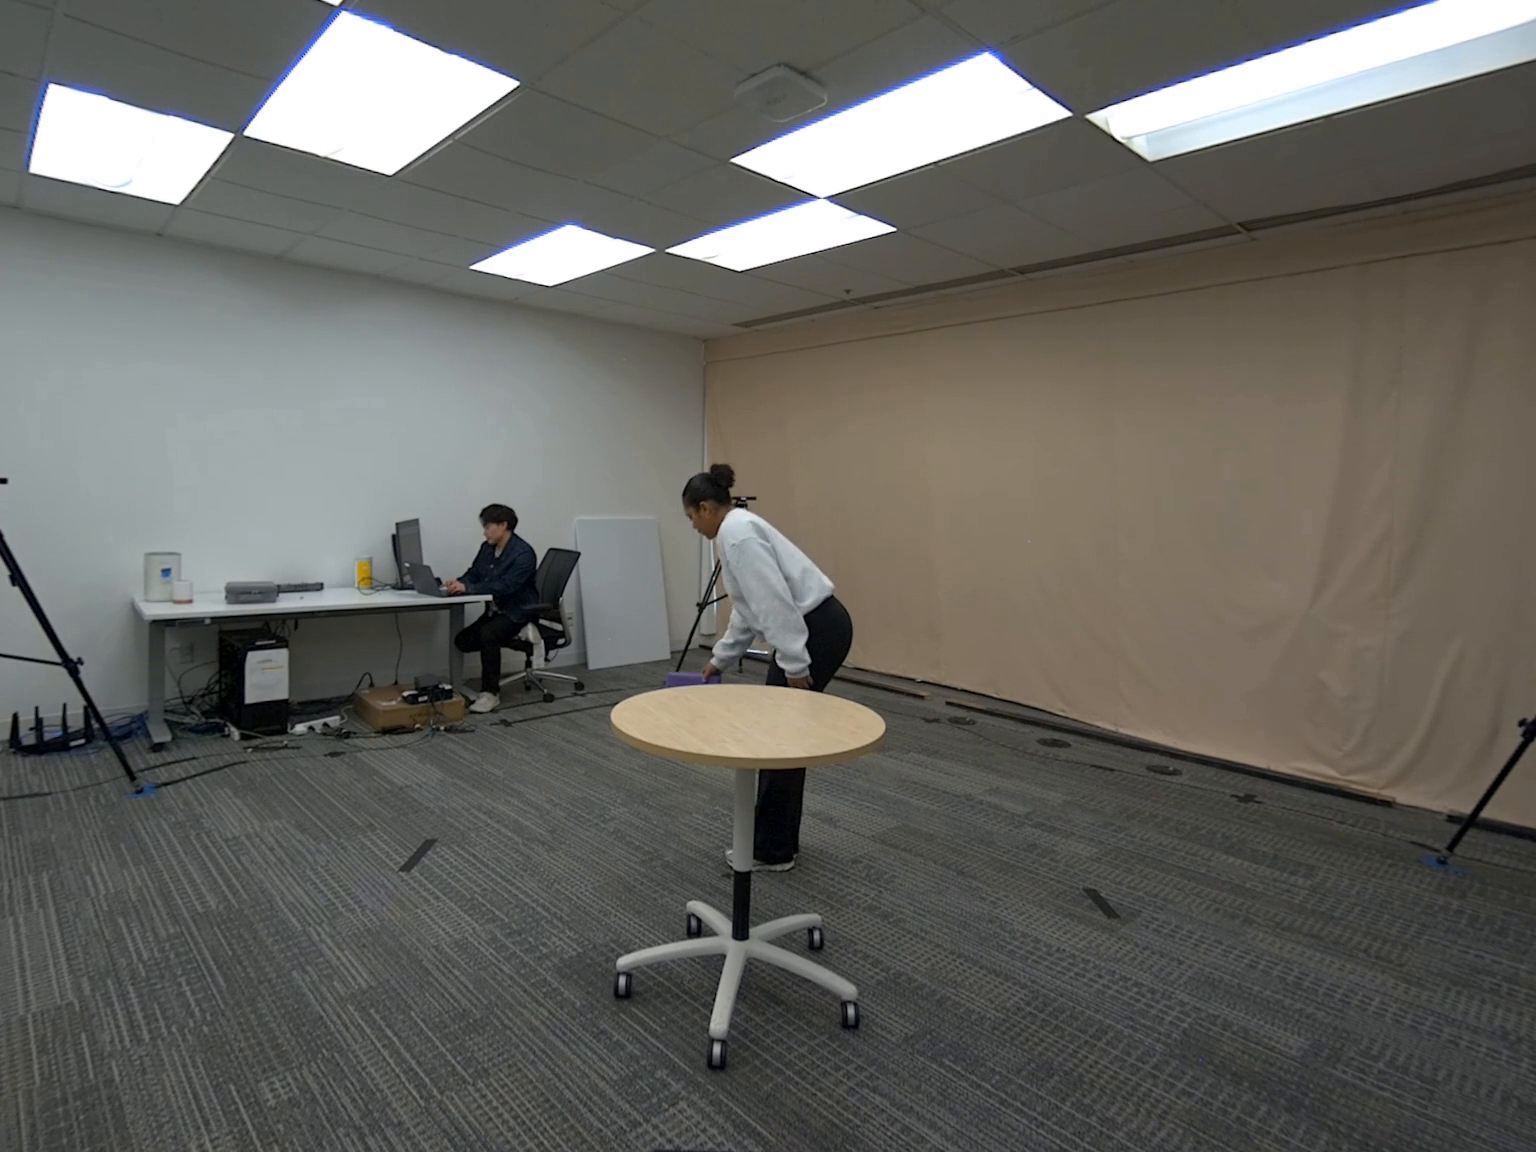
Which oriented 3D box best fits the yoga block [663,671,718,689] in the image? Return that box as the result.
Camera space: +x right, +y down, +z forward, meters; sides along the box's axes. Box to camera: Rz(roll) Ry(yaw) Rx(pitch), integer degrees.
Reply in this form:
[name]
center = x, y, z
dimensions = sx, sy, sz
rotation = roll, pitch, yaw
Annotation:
[yoga block]
center = -0.309, 0.487, 3.531
dimensions = 0.230, 0.149, 0.076
rotation = 0, -4, 3
